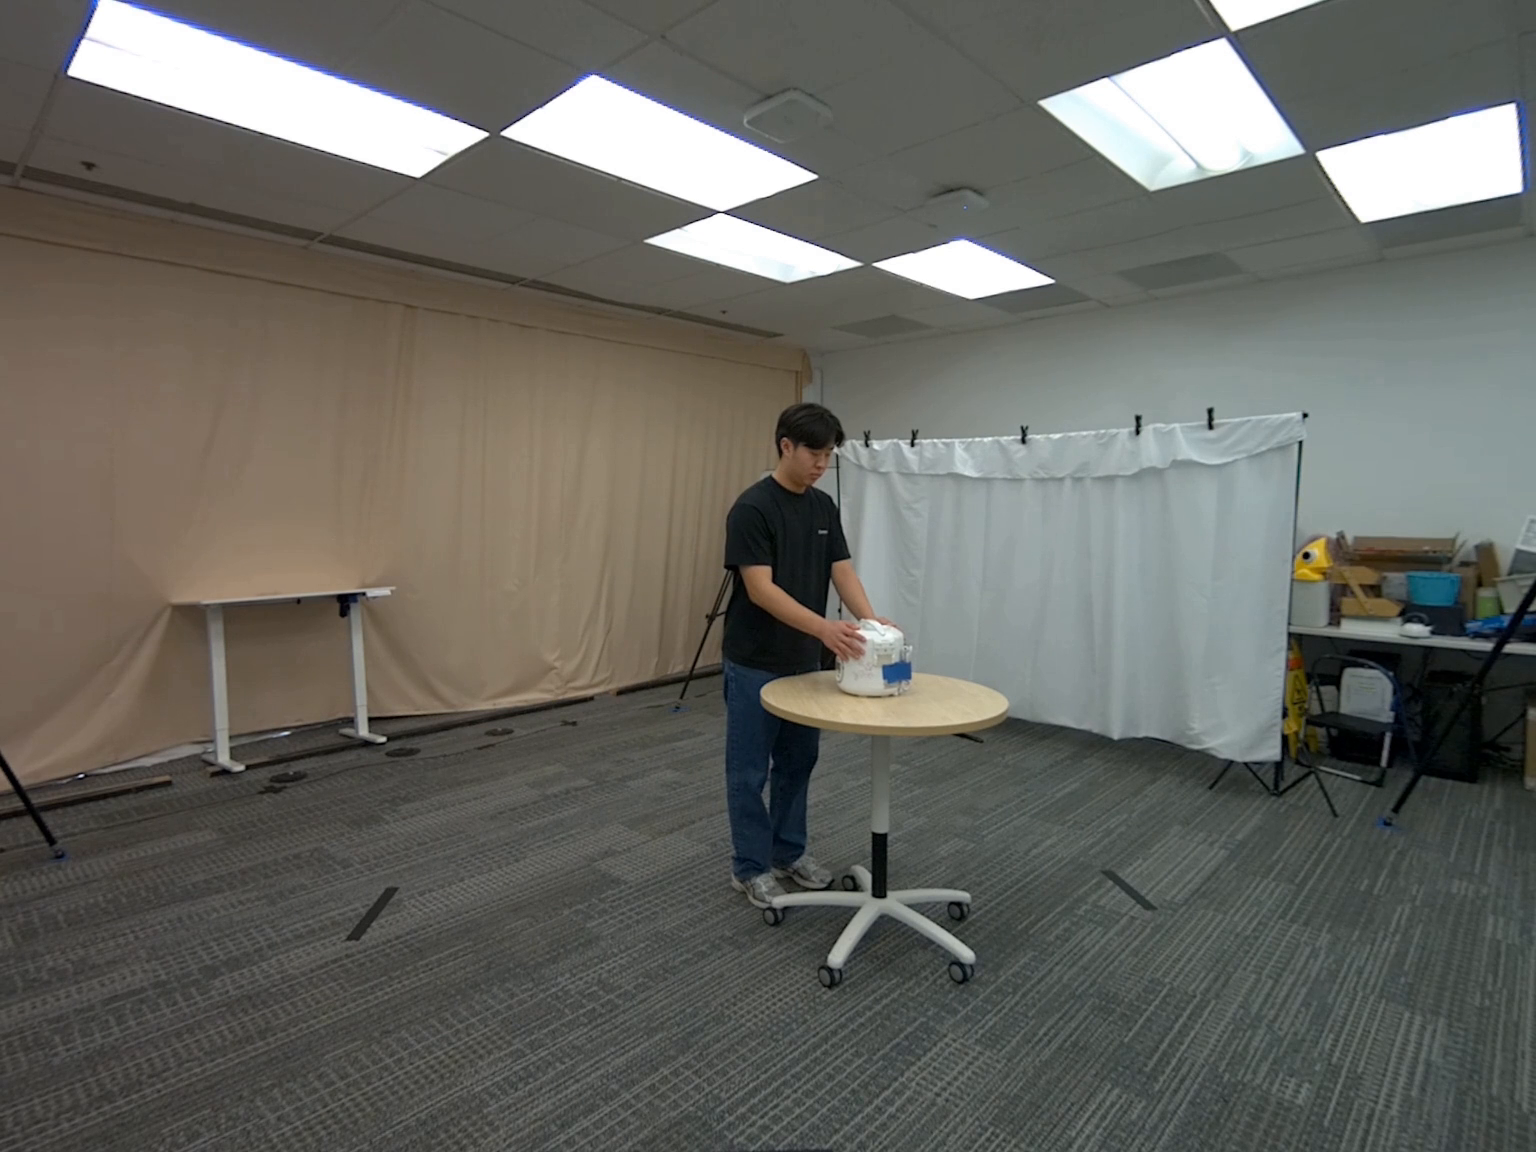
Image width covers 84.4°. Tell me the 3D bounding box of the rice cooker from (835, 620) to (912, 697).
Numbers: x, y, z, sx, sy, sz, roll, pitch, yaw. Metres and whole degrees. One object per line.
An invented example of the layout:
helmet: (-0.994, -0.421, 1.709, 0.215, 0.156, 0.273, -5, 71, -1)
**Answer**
rice cooker: (0.328, 0.256, 2.691, 0.214, 0.232, 0.225, -2, 3, -17)
